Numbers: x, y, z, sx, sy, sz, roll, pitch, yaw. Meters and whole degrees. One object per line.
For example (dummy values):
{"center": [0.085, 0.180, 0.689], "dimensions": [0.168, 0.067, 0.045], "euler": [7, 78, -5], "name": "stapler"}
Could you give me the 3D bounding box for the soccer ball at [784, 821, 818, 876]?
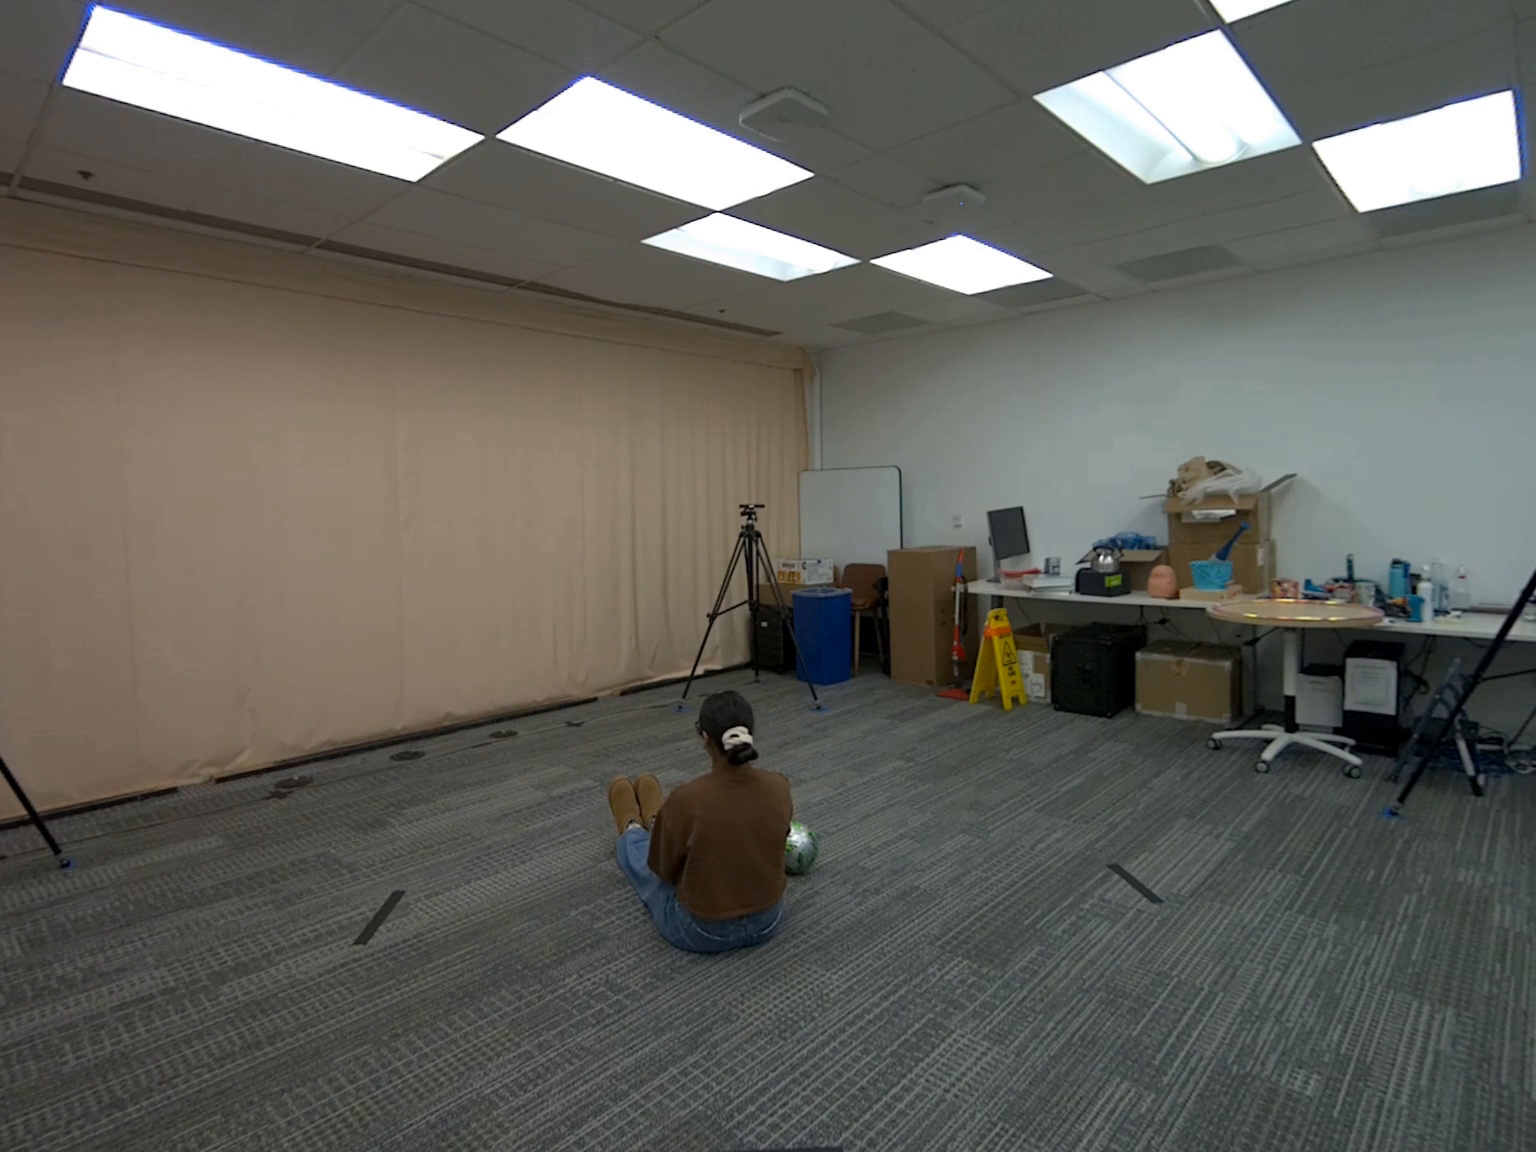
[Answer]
{"center": [0.101, 1.029, 3.192], "dimensions": [0.187, 0.187, 0.188], "euler": [-1, 4, -2], "name": "soccer ball"}
